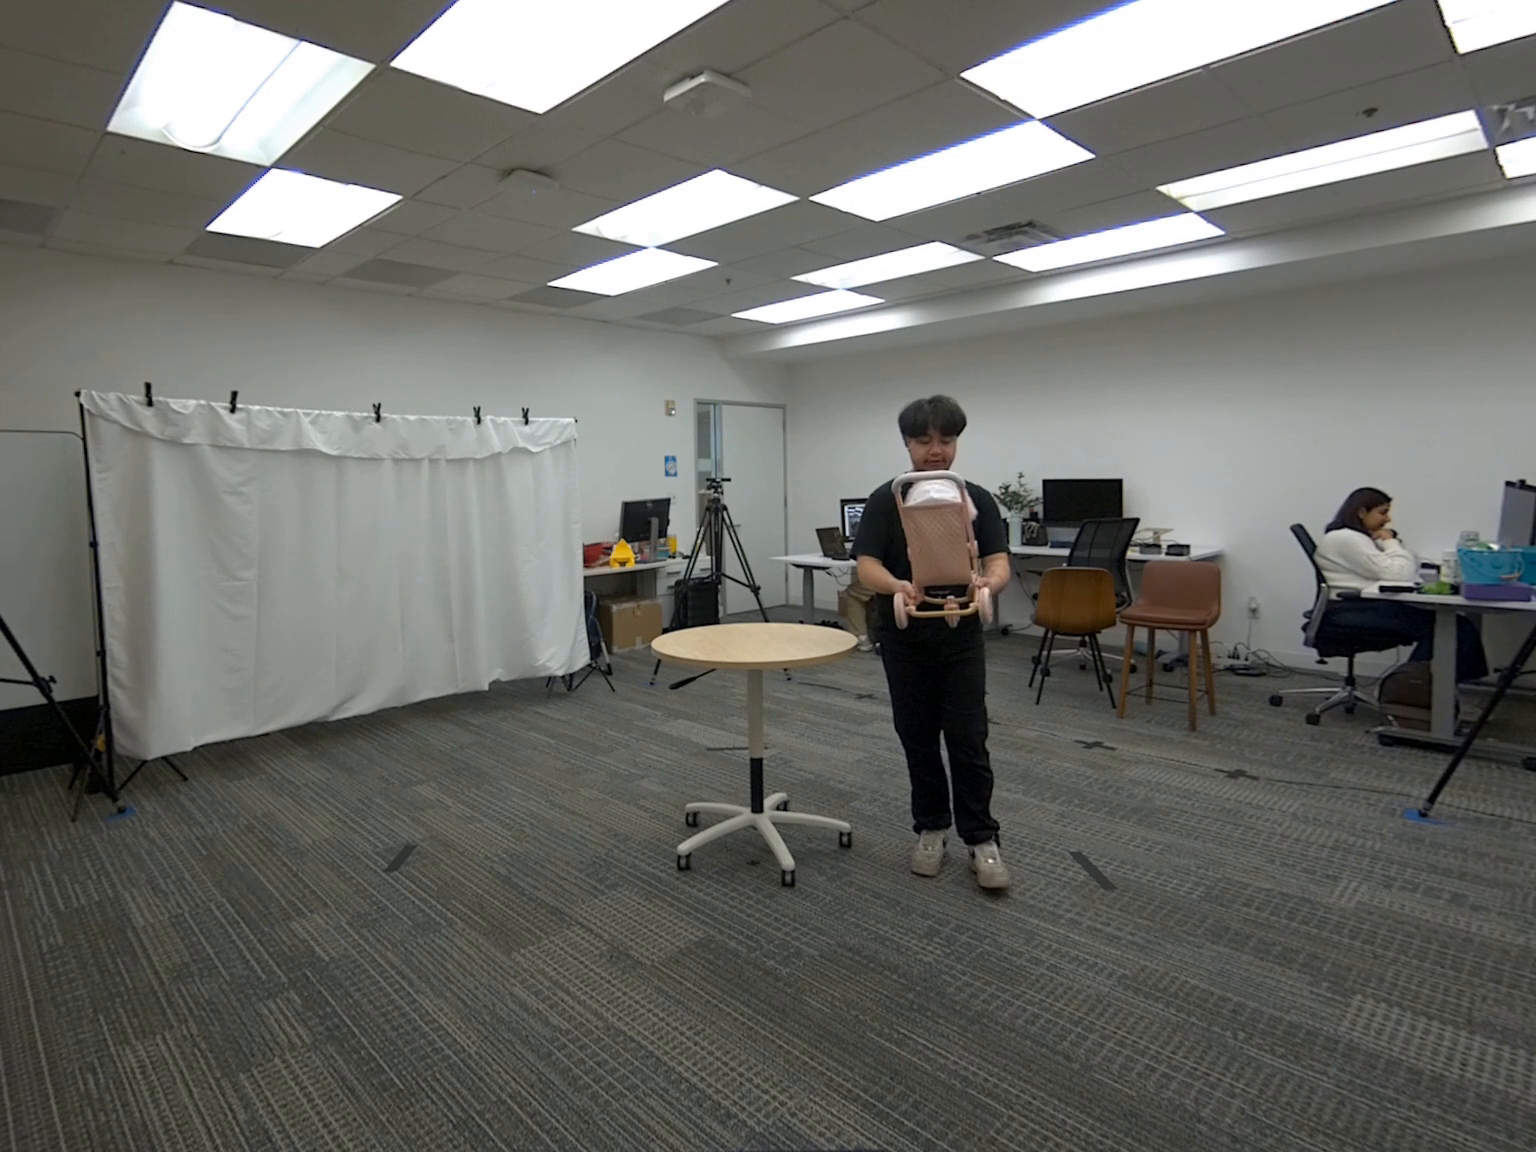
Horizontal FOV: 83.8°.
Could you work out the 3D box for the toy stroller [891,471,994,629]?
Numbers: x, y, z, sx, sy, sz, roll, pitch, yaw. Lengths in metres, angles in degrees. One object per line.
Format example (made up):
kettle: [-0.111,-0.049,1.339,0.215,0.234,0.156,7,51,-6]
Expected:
toy stroller: [0.545,-0.070,2.639,0.287,0.531,0.337,-5,7,23]
